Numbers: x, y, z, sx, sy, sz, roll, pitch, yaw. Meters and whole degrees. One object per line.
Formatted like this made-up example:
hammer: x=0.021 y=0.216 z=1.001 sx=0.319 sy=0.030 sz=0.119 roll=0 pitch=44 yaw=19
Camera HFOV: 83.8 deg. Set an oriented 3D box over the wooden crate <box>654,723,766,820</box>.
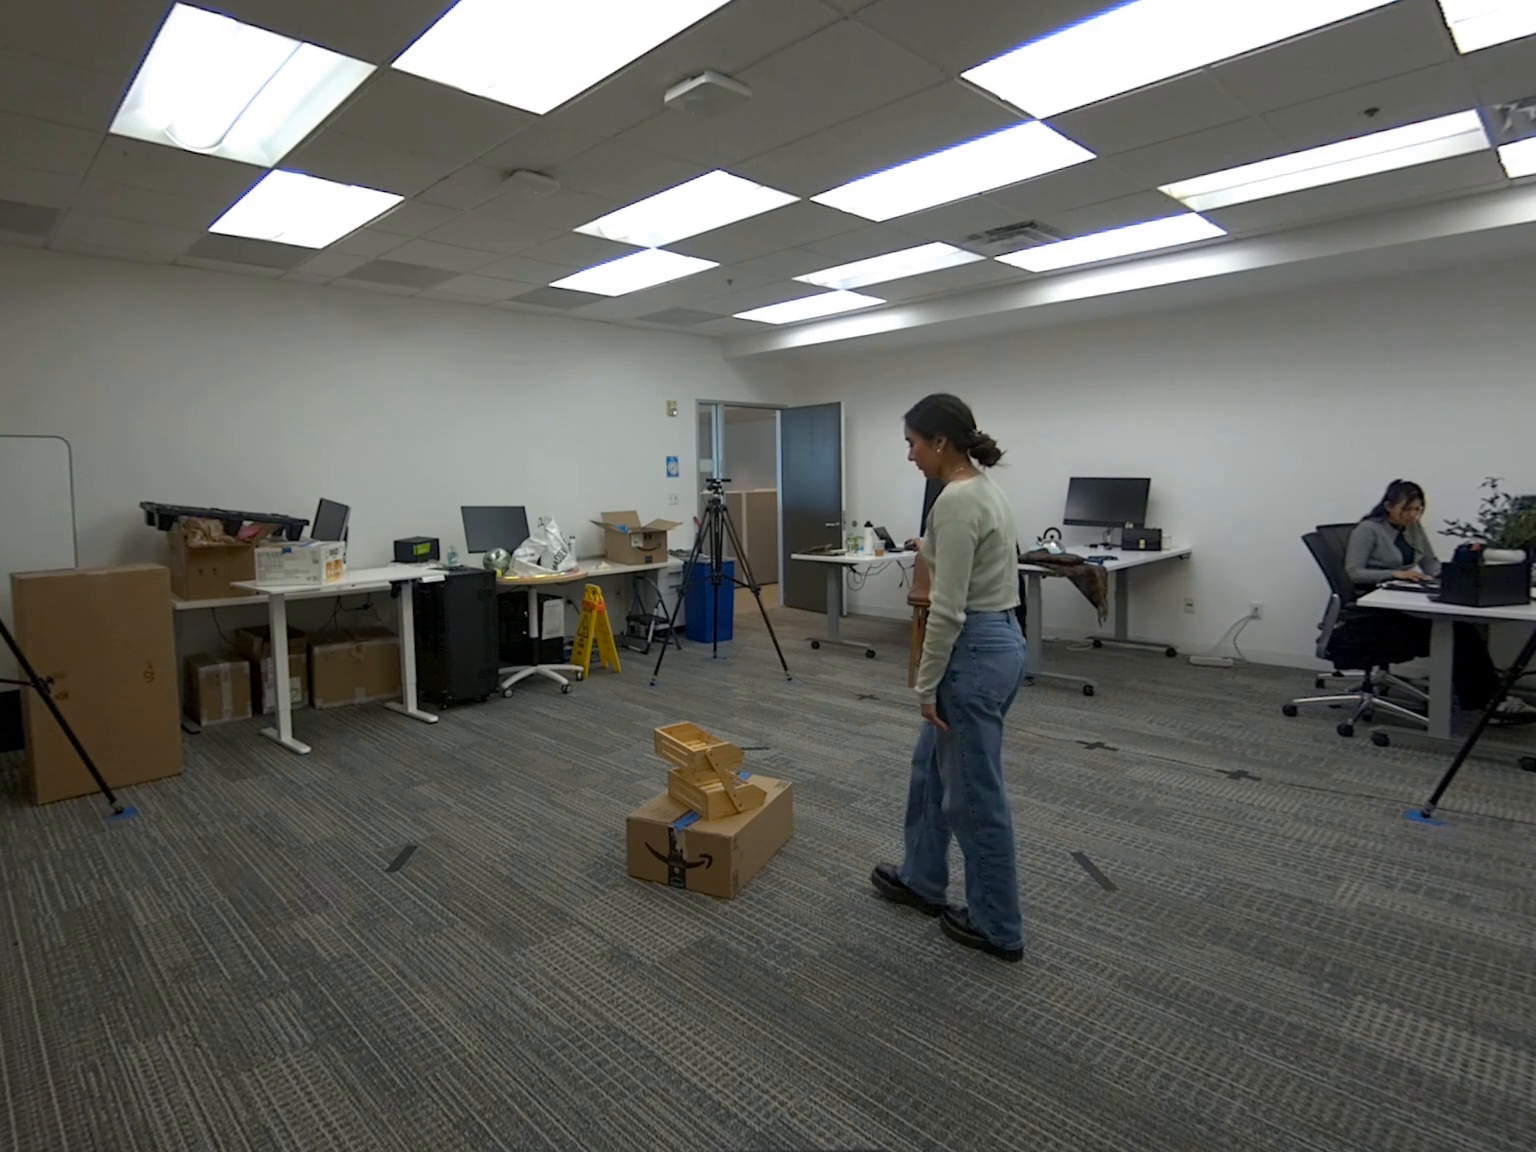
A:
wooden crate: x=-0.210 y=0.696 z=3.140 sx=0.295 sy=0.272 sz=0.334 roll=-6 pitch=8 yaw=-33
